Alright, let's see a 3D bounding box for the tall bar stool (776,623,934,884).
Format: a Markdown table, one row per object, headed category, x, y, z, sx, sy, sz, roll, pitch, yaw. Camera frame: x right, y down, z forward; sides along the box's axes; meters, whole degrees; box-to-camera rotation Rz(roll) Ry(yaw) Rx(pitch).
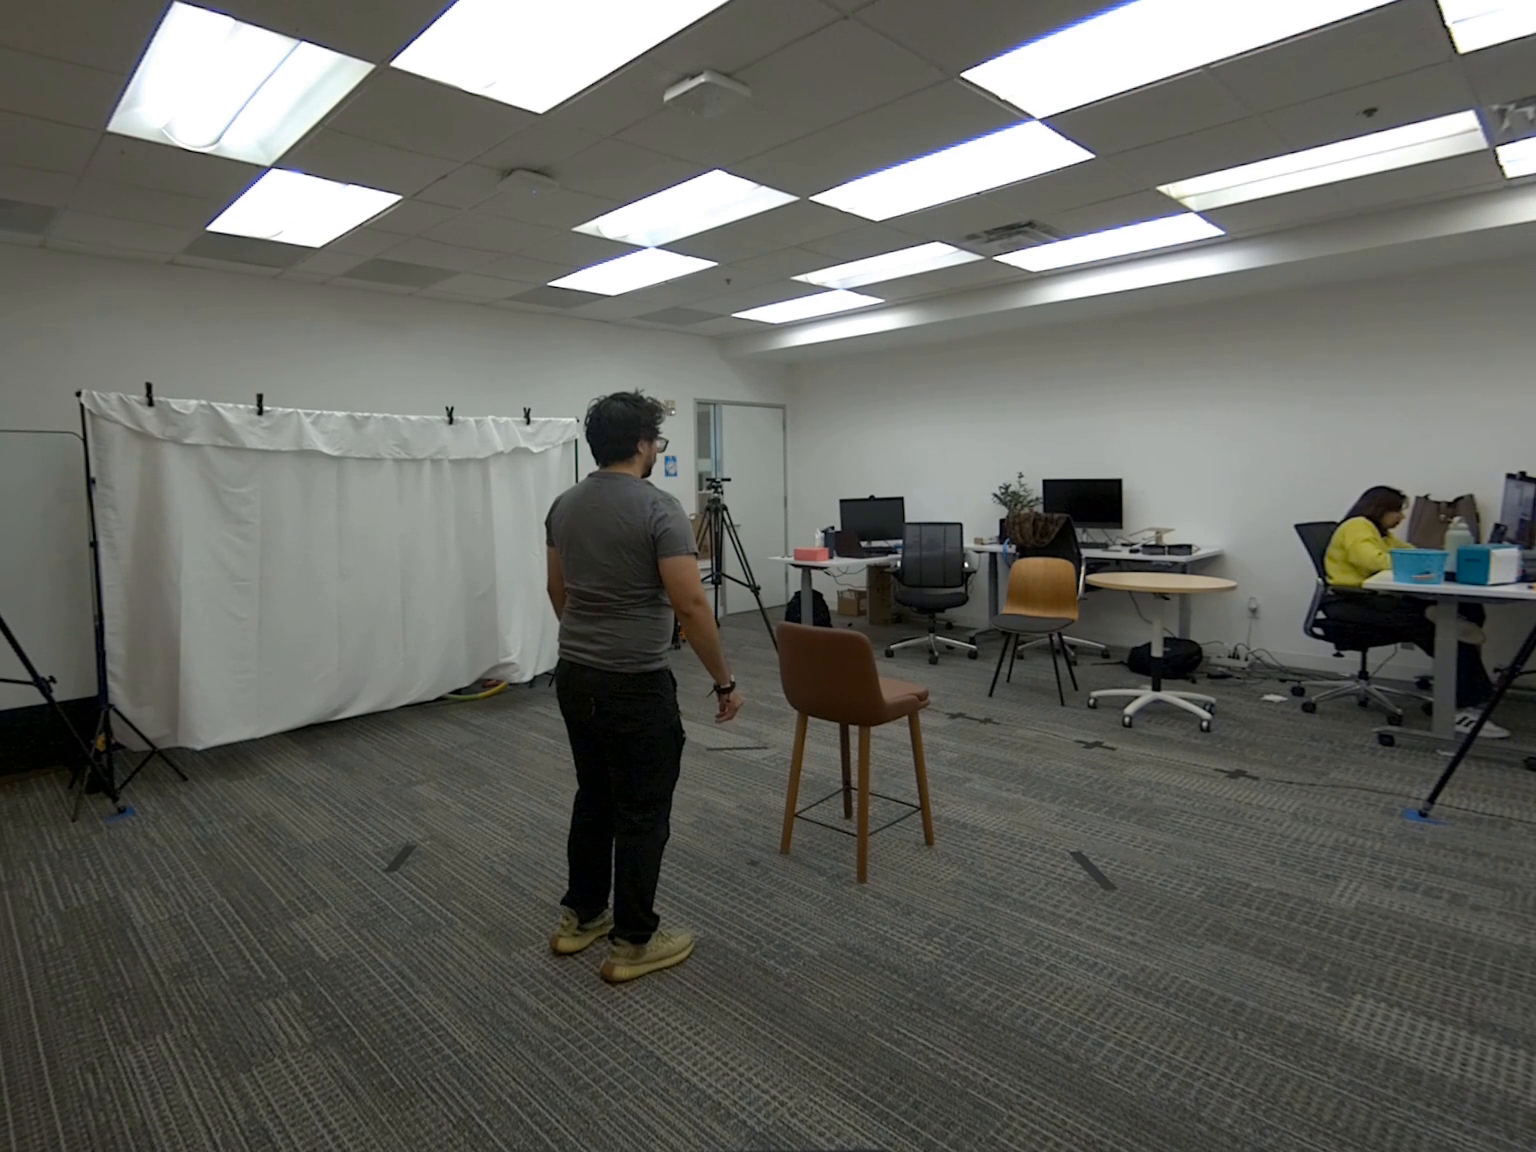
| category | x | y | z | sx | sy | sz | roll | pitch | yaw |
| --- | --- | --- | --- | --- | --- | --- | --- | --- | --- |
| tall bar stool | 0.322 | 0.592 | 3.189 | 0.470 | 0.885 | 0.456 | 3 | 7 | 43 |
